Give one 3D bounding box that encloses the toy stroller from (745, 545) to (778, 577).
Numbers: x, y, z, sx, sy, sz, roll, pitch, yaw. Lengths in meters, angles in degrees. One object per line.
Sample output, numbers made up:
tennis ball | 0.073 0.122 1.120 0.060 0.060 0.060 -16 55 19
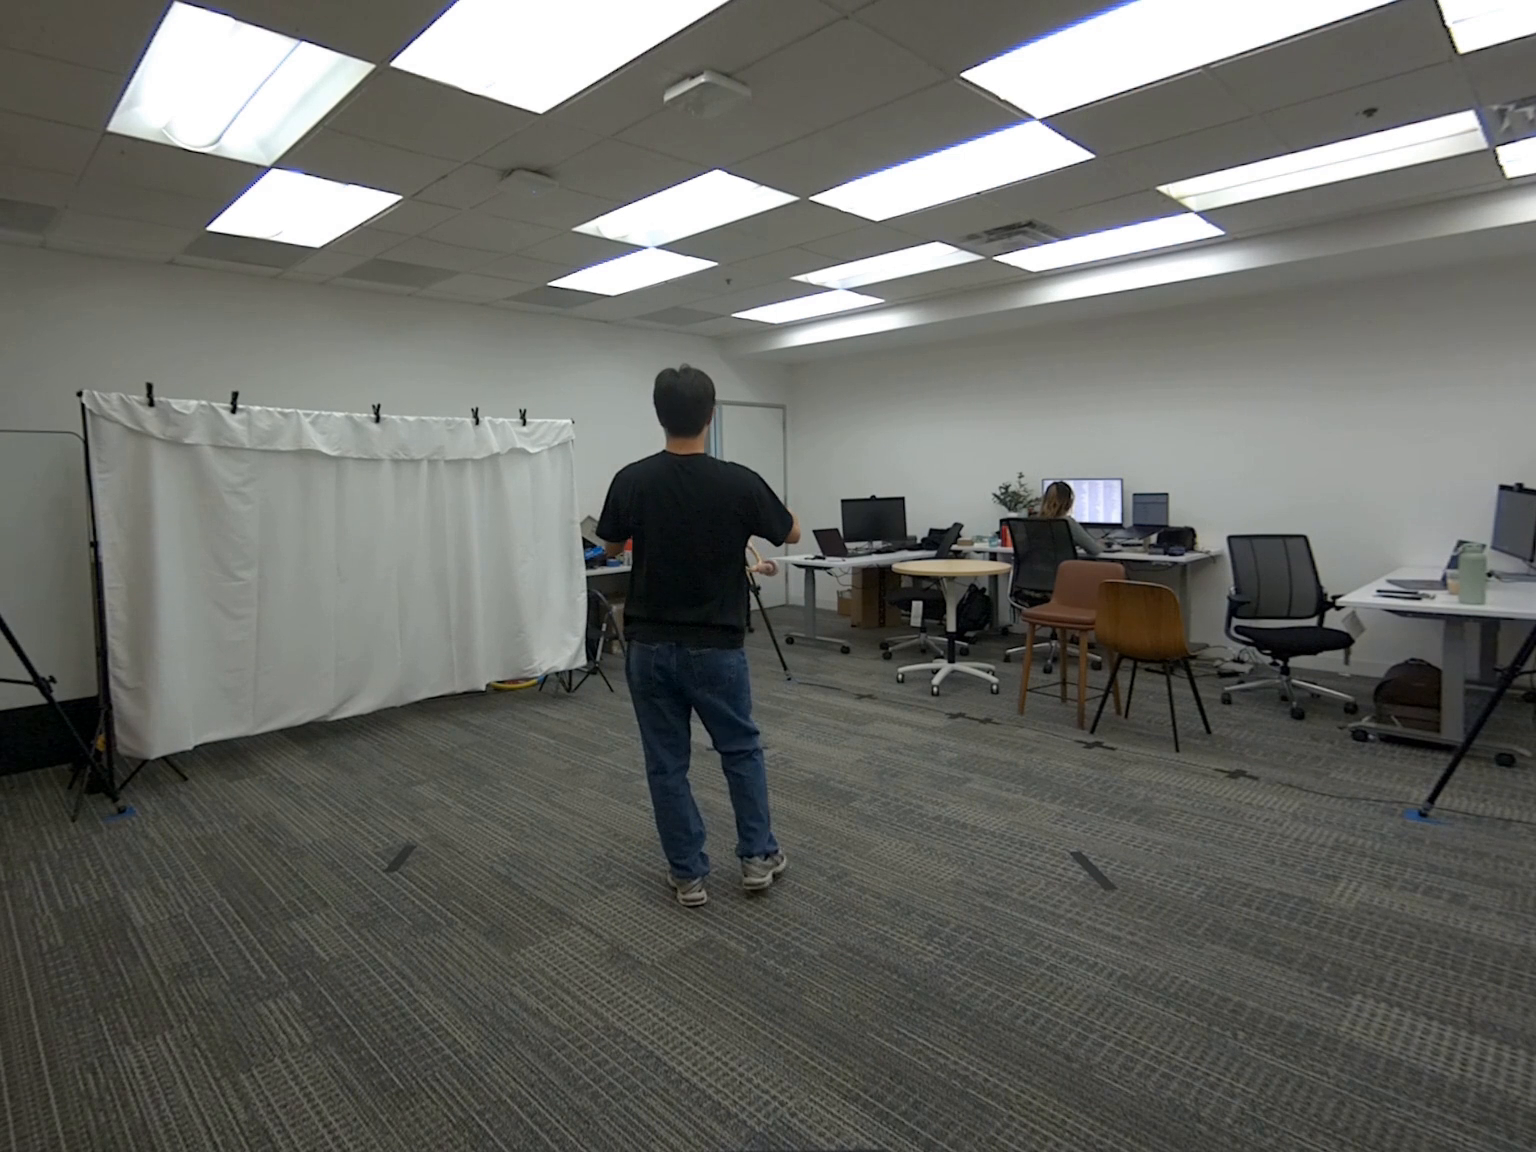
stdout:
toy stroller | -0.223 -0.158 3.224 0.545 0.336 0.281 -1 17 19
